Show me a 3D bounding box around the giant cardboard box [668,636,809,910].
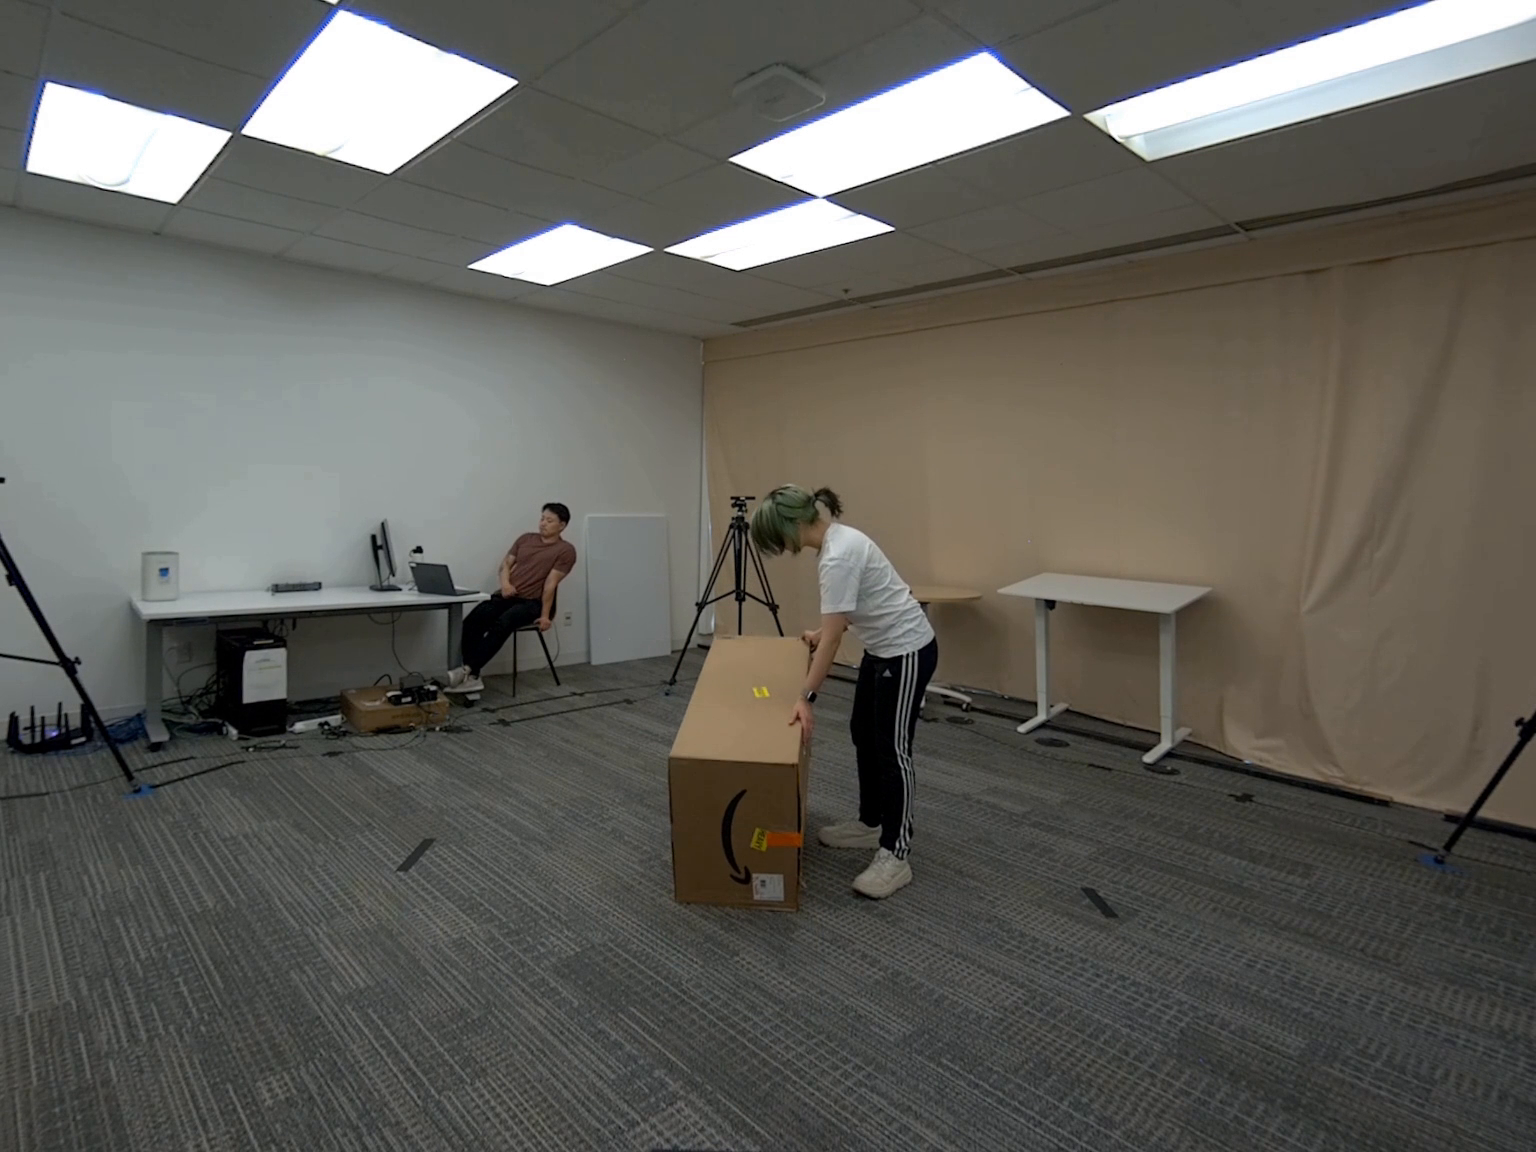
[{"bbox_3d":[-0.073,0.701,3.259,0.428,0.570,1.034,1,18,5],"label":"giant cardboard box"}]
